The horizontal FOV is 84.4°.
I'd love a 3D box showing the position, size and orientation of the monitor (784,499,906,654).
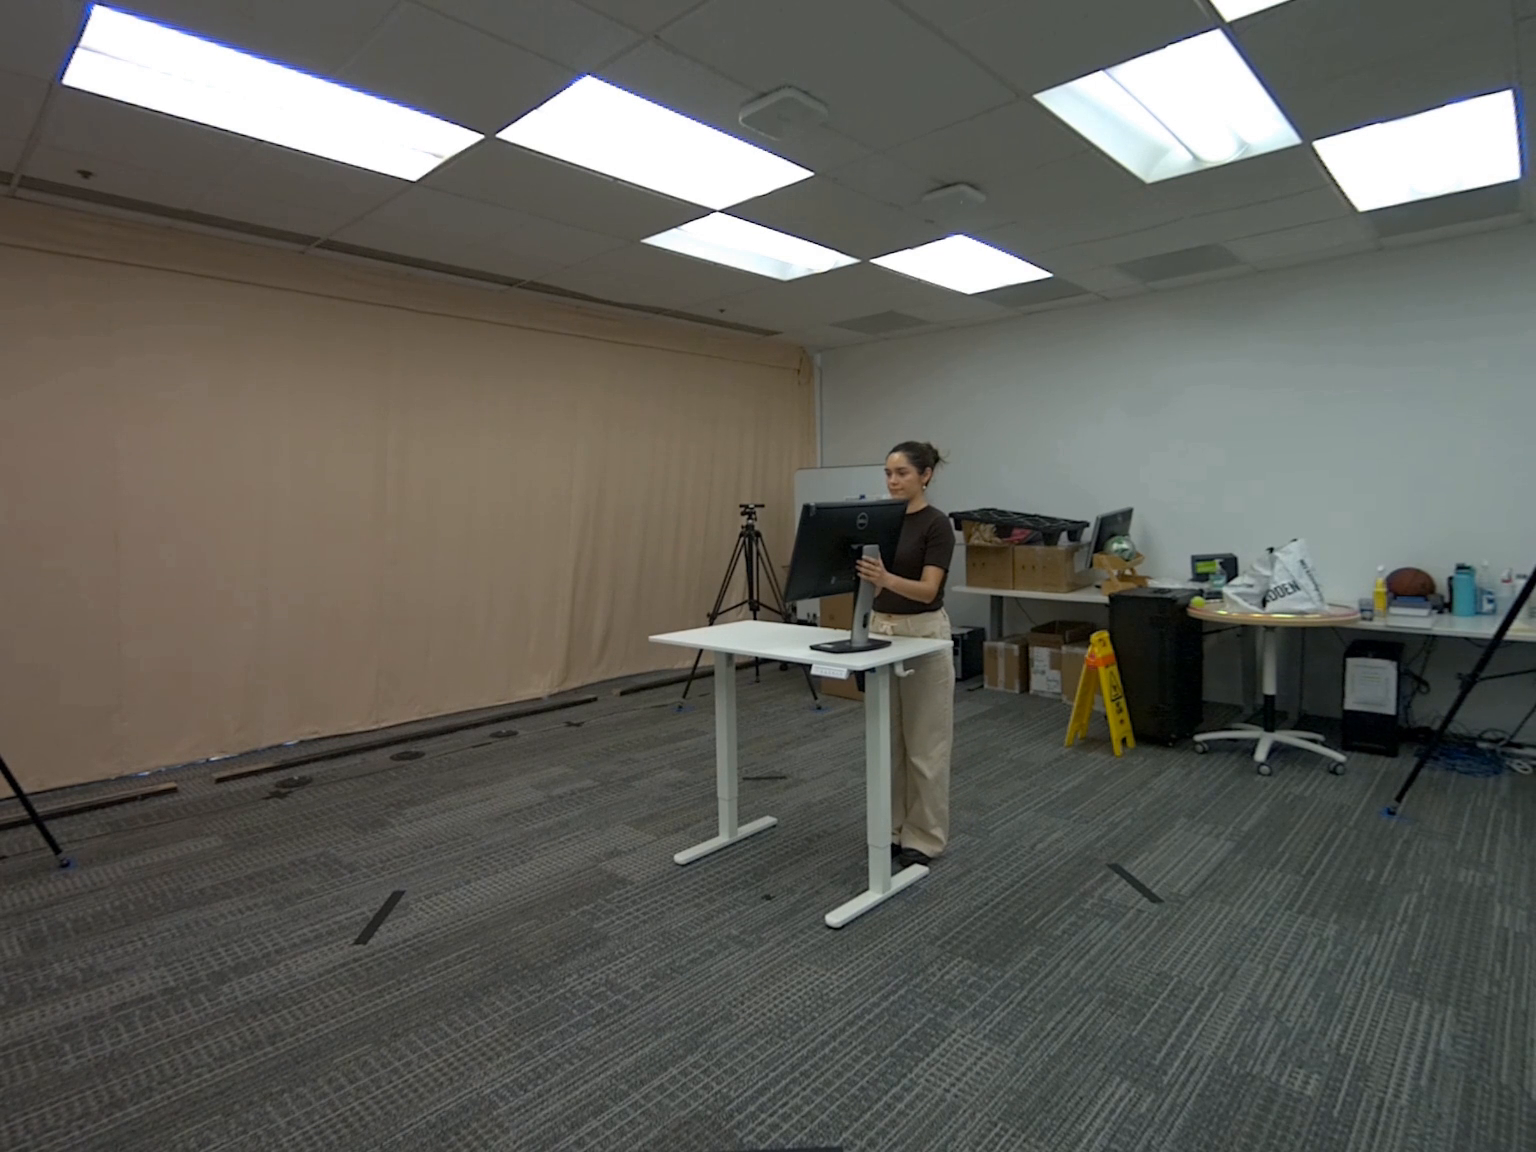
[{"bbox_3d":[0.313,0.001,2.930,0.523,0.520,0.193,-6,11,-38],"label":"monitor"}]
